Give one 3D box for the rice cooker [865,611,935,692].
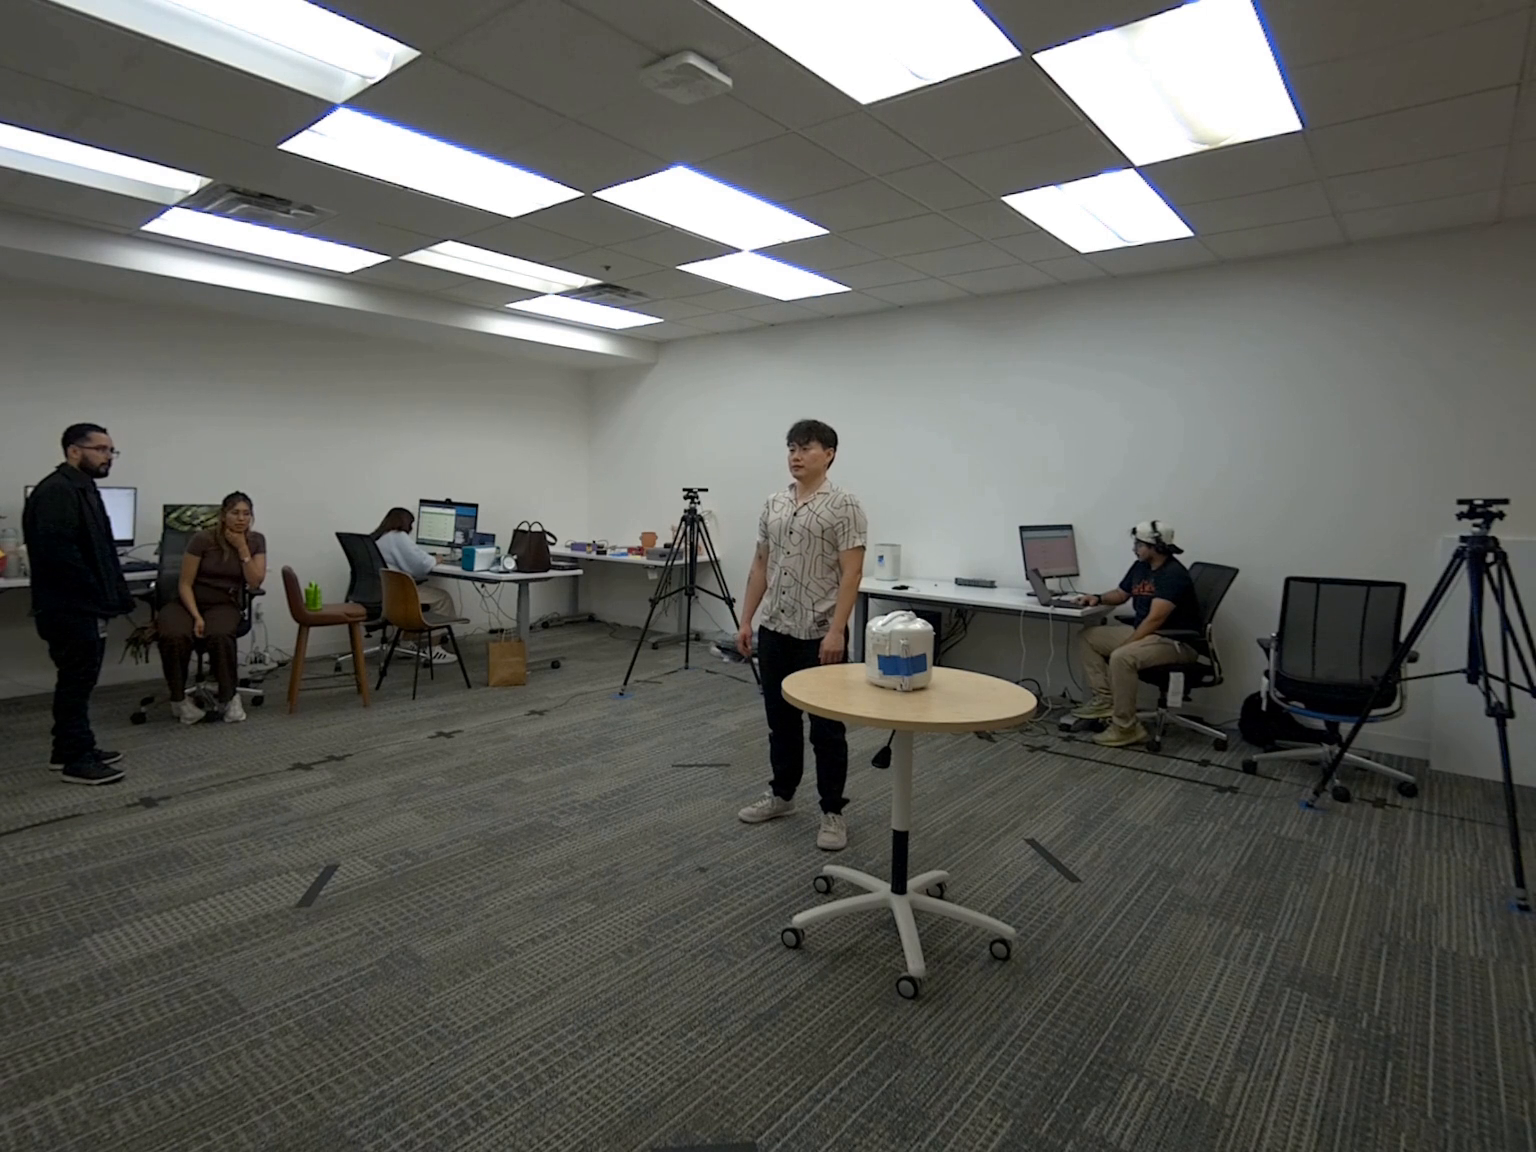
[{"bbox_3d":[0.409,0.225,2.694,0.214,0.232,0.225,-2,6,-45],"label":"rice cooker"}]
